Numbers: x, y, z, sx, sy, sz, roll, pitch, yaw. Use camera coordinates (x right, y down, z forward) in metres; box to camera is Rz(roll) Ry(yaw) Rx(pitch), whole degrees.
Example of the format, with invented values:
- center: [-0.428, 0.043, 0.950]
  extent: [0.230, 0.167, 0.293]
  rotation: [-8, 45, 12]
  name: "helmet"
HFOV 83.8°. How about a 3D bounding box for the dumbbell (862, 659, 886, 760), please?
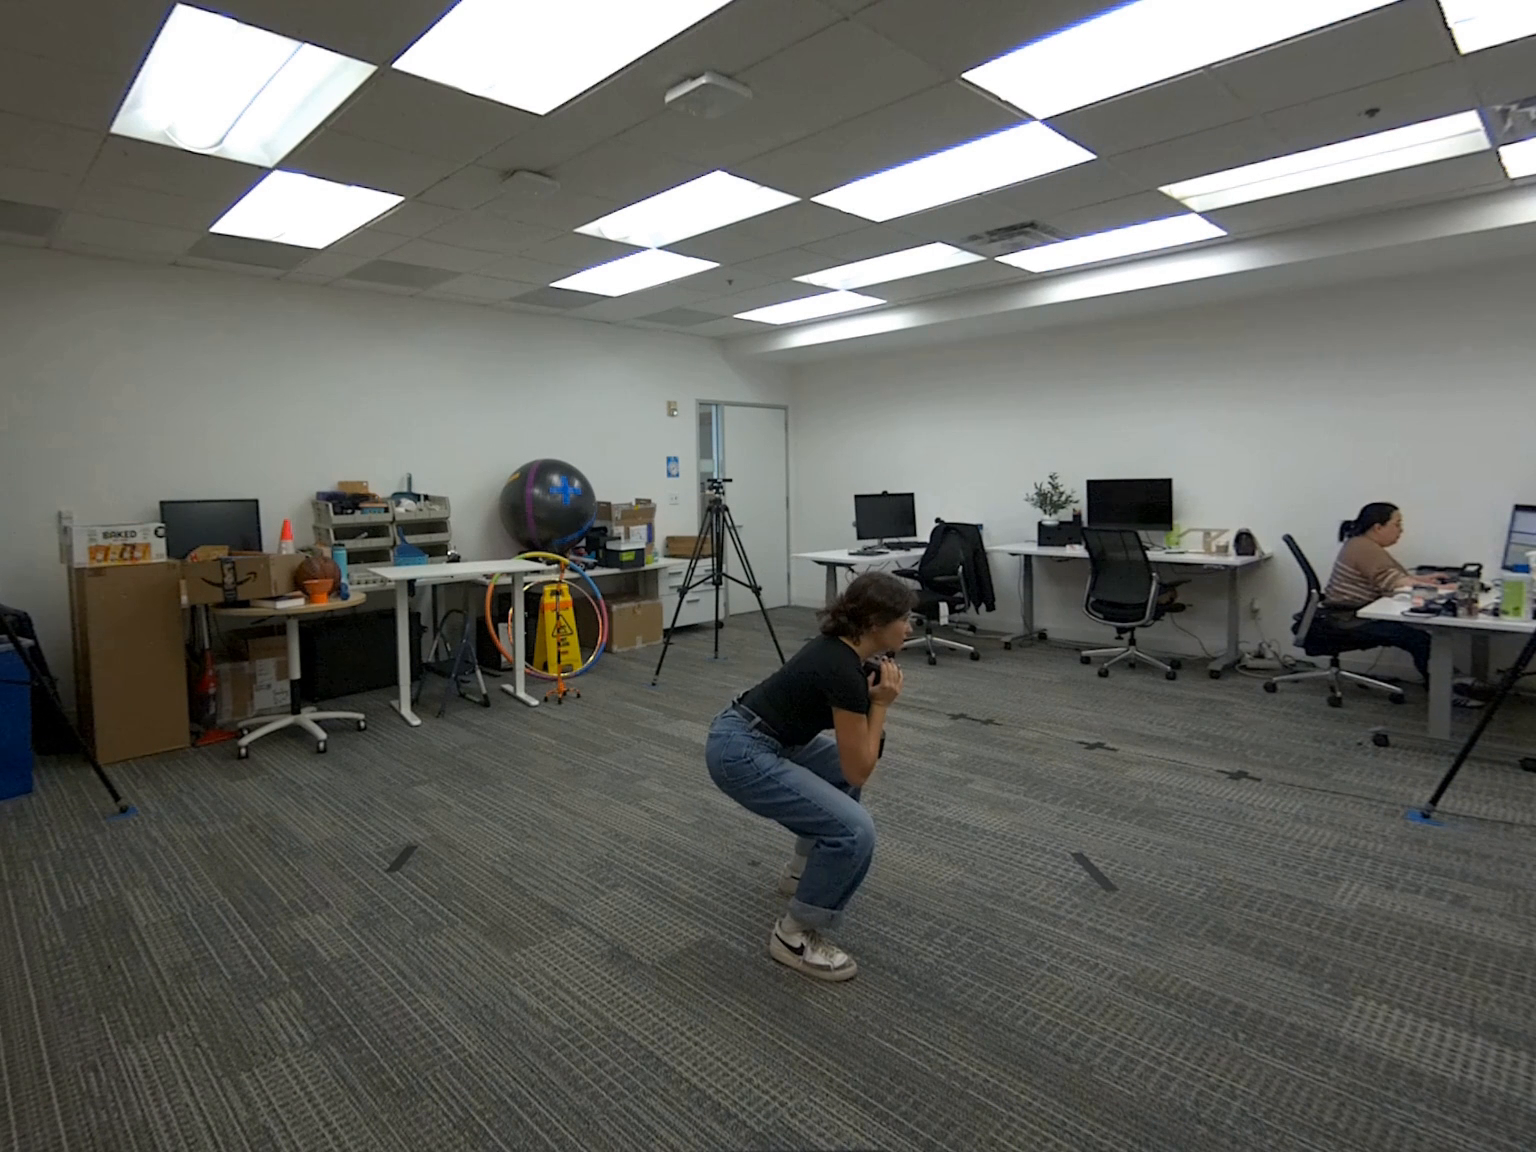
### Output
- center: [0.297, 0.405, 2.625]
  extent: [0.127, 0.292, 0.105]
  rotation: [14, 7, 37]
  name: "dumbbell"
